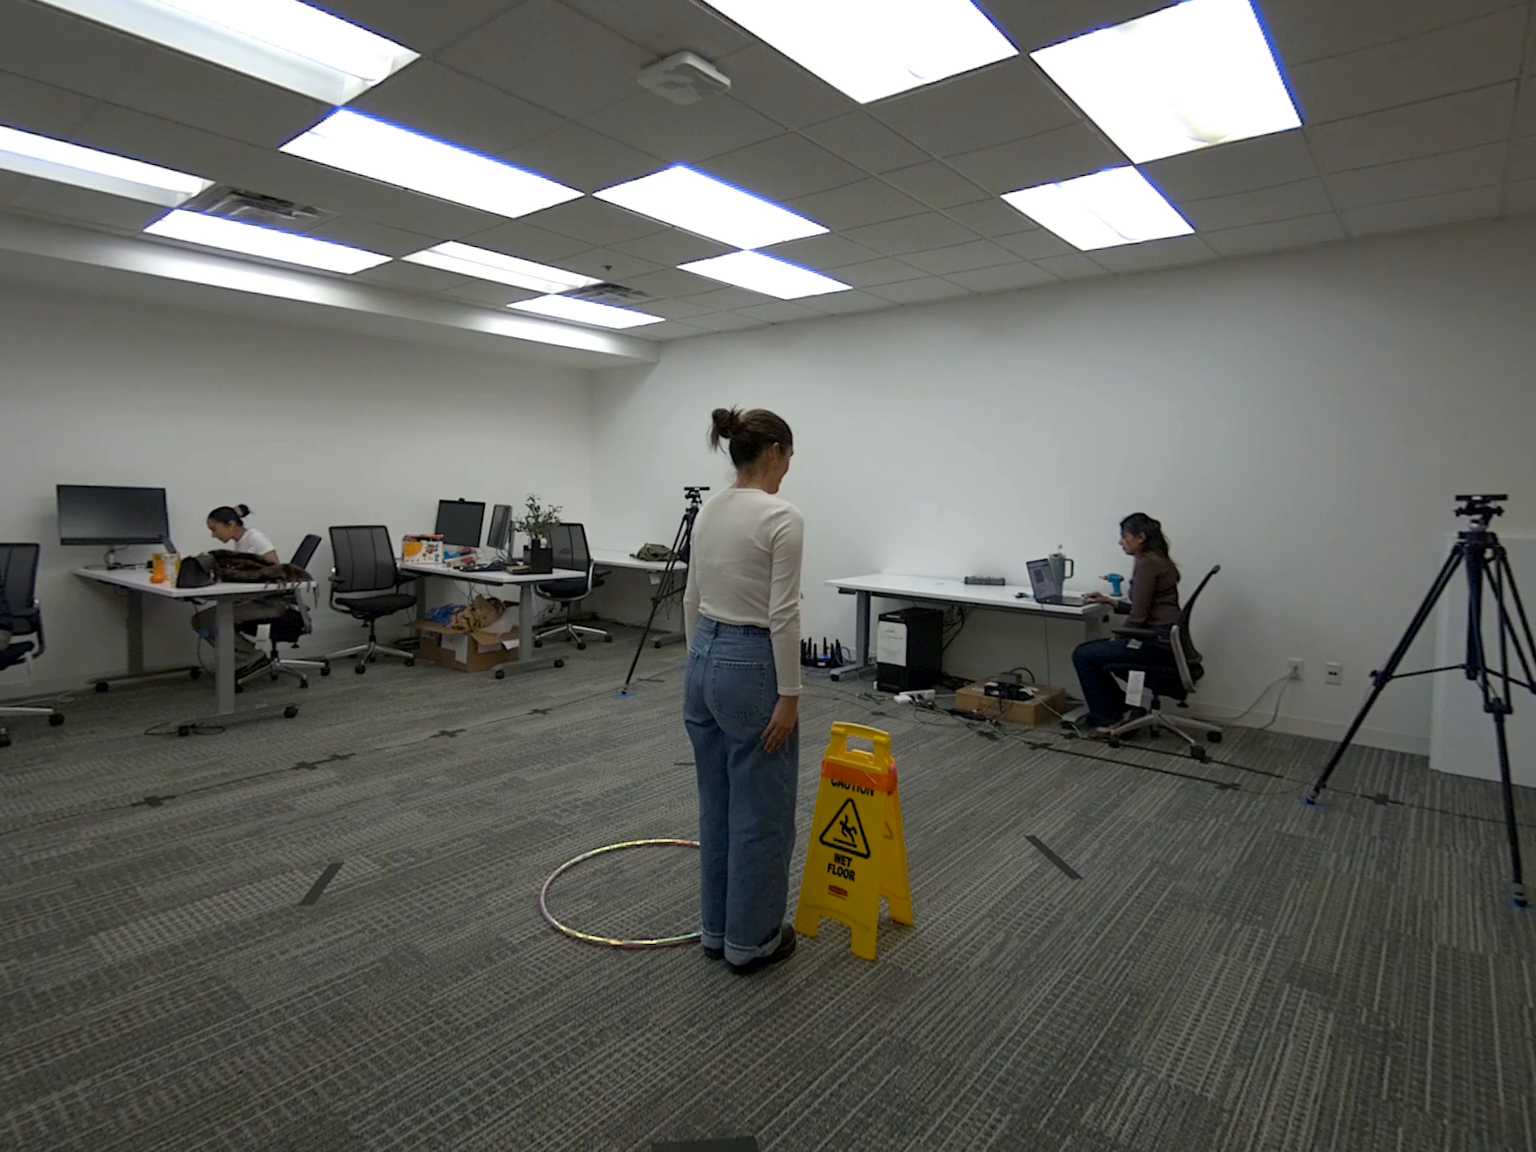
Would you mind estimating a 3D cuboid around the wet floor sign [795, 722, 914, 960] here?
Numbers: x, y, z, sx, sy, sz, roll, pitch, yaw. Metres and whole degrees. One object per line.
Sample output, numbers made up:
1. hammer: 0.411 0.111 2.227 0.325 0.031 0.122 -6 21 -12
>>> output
1. wet floor sign: 0.273 0.789 2.692 0.291 0.644 0.281 4 4 36
